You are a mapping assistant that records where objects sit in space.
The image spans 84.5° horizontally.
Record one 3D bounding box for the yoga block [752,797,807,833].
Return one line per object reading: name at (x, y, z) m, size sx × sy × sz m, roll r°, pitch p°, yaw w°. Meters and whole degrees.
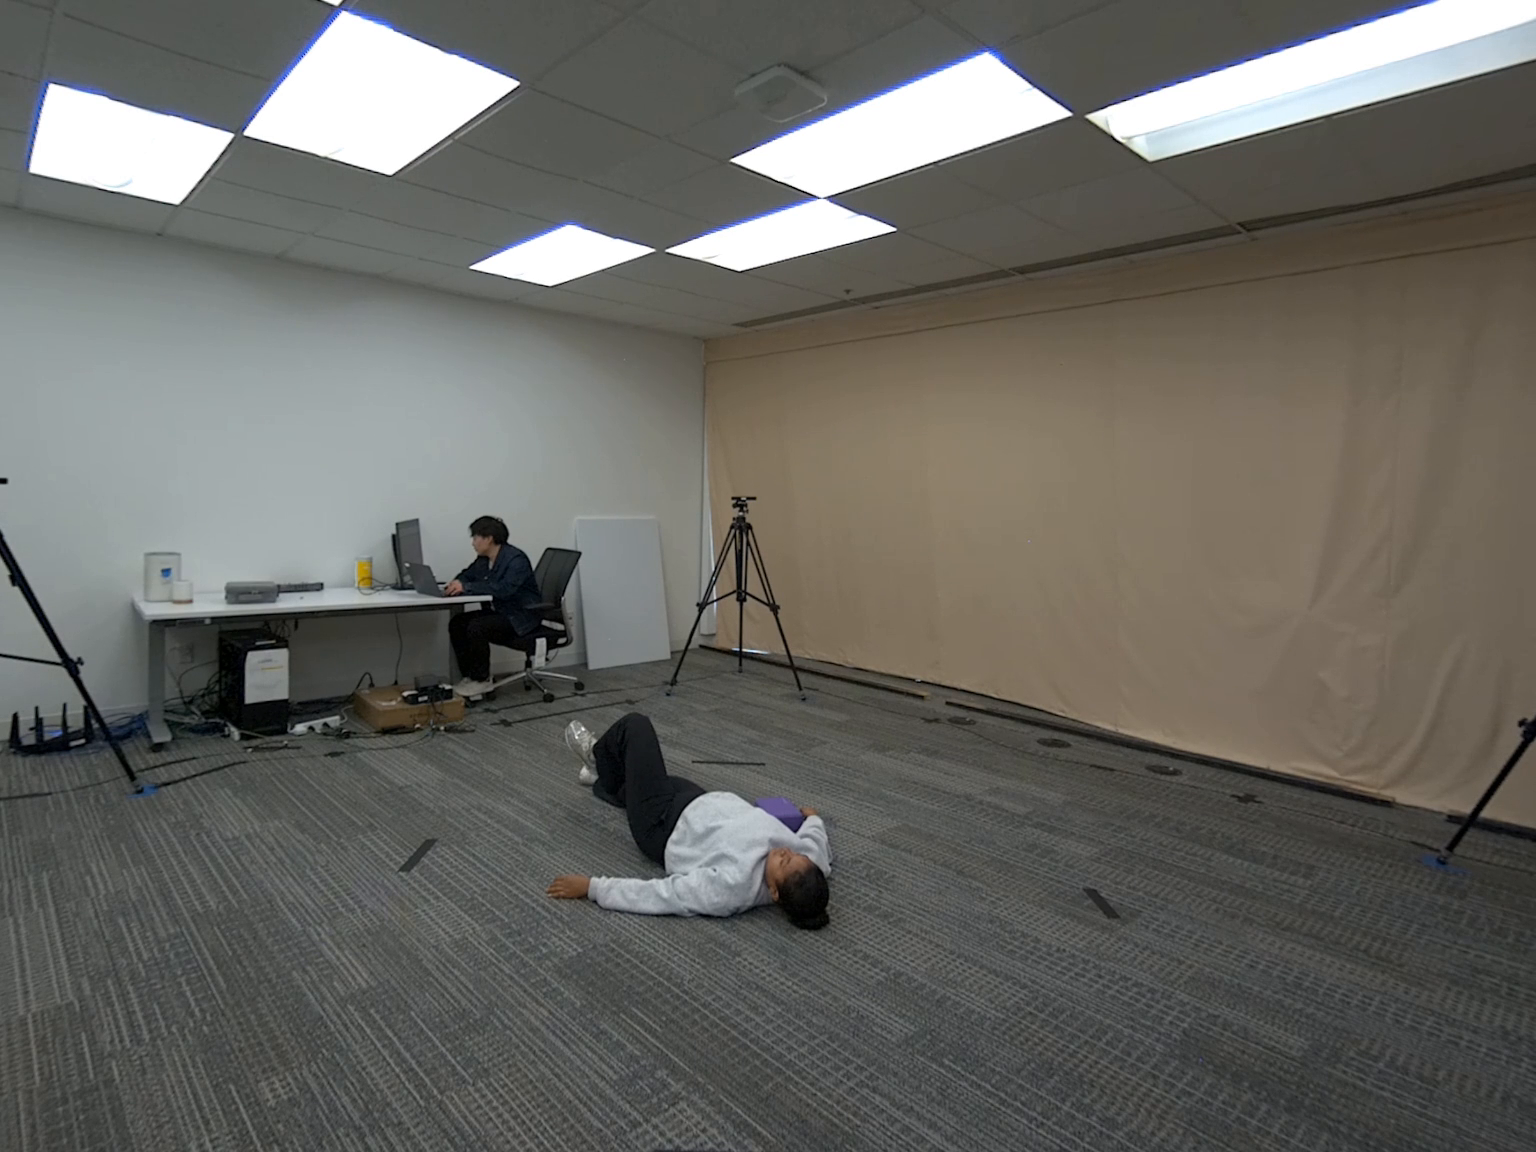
yoga block at (0.034, 1.025, 3.624) m, size 0.147 × 0.076 × 0.233 m, roll 2°, pitch 4°, yaw -17°
